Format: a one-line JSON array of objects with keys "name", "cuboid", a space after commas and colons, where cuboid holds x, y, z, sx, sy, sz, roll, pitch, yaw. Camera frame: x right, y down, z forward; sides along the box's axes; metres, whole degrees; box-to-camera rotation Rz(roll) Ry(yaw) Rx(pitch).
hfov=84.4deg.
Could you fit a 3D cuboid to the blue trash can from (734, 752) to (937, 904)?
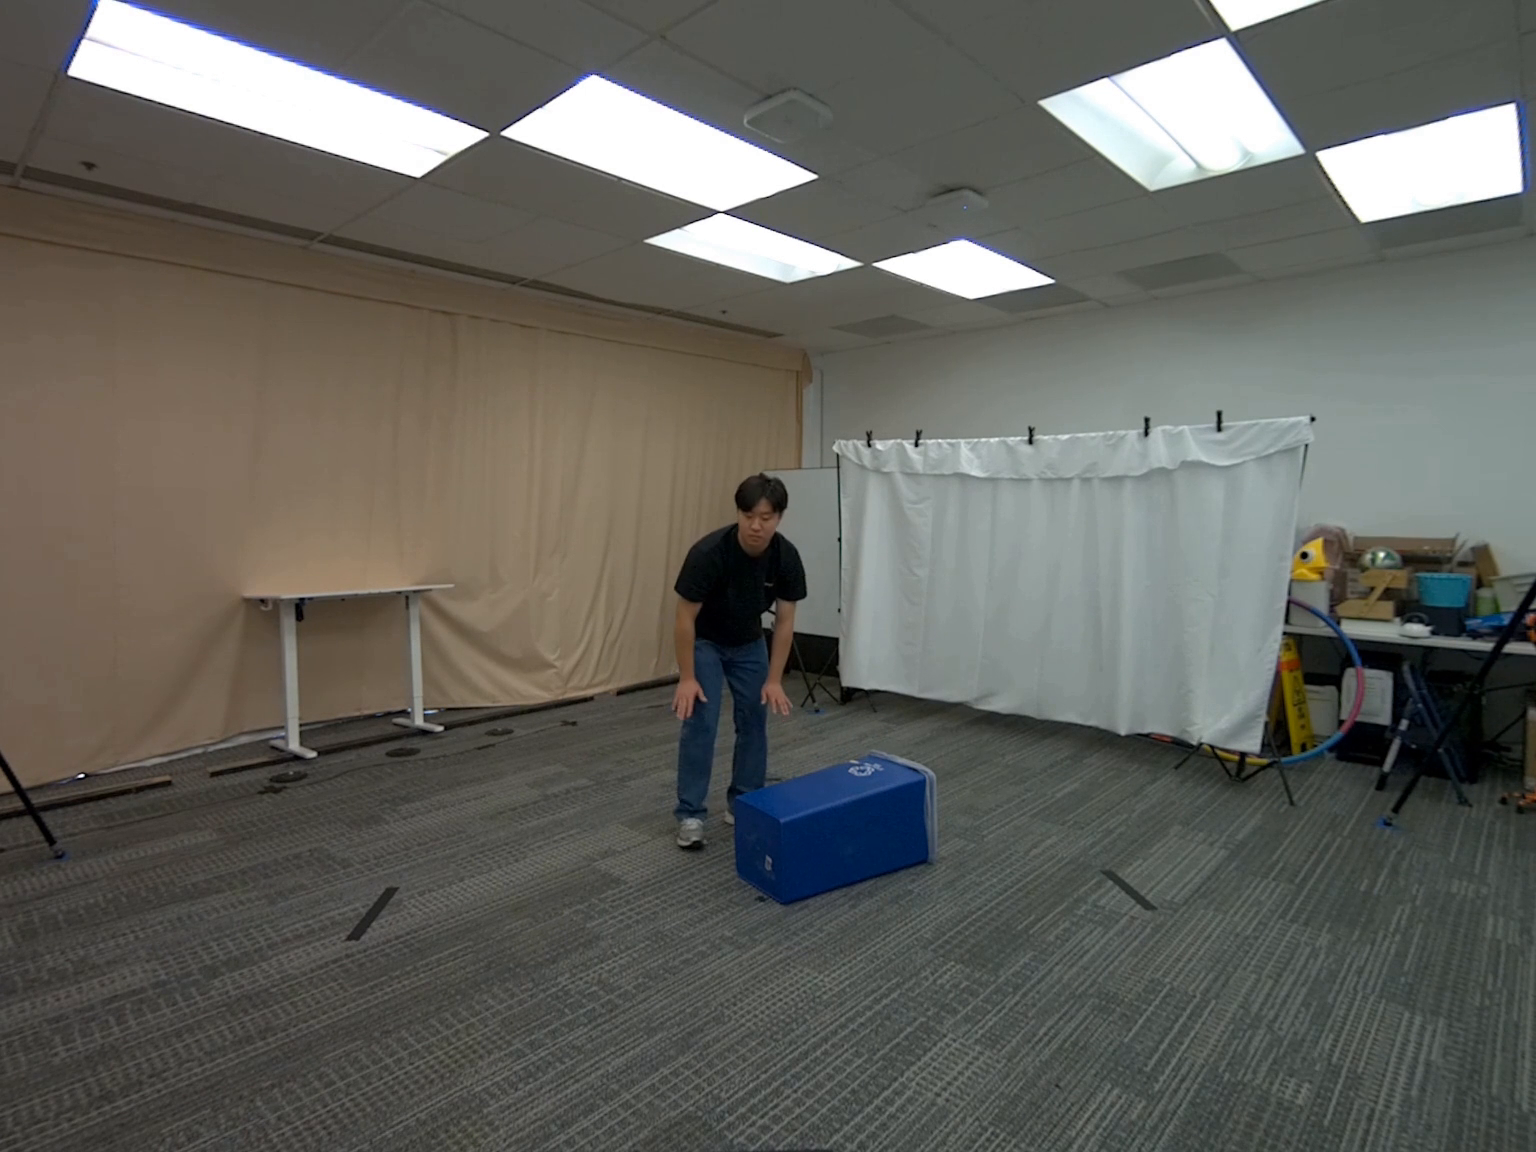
[{"name": "blue trash can", "cuboid": [0.264, 0.956, 3.216, 0.694, 0.377, 0.386, -7, 6, -34]}]
